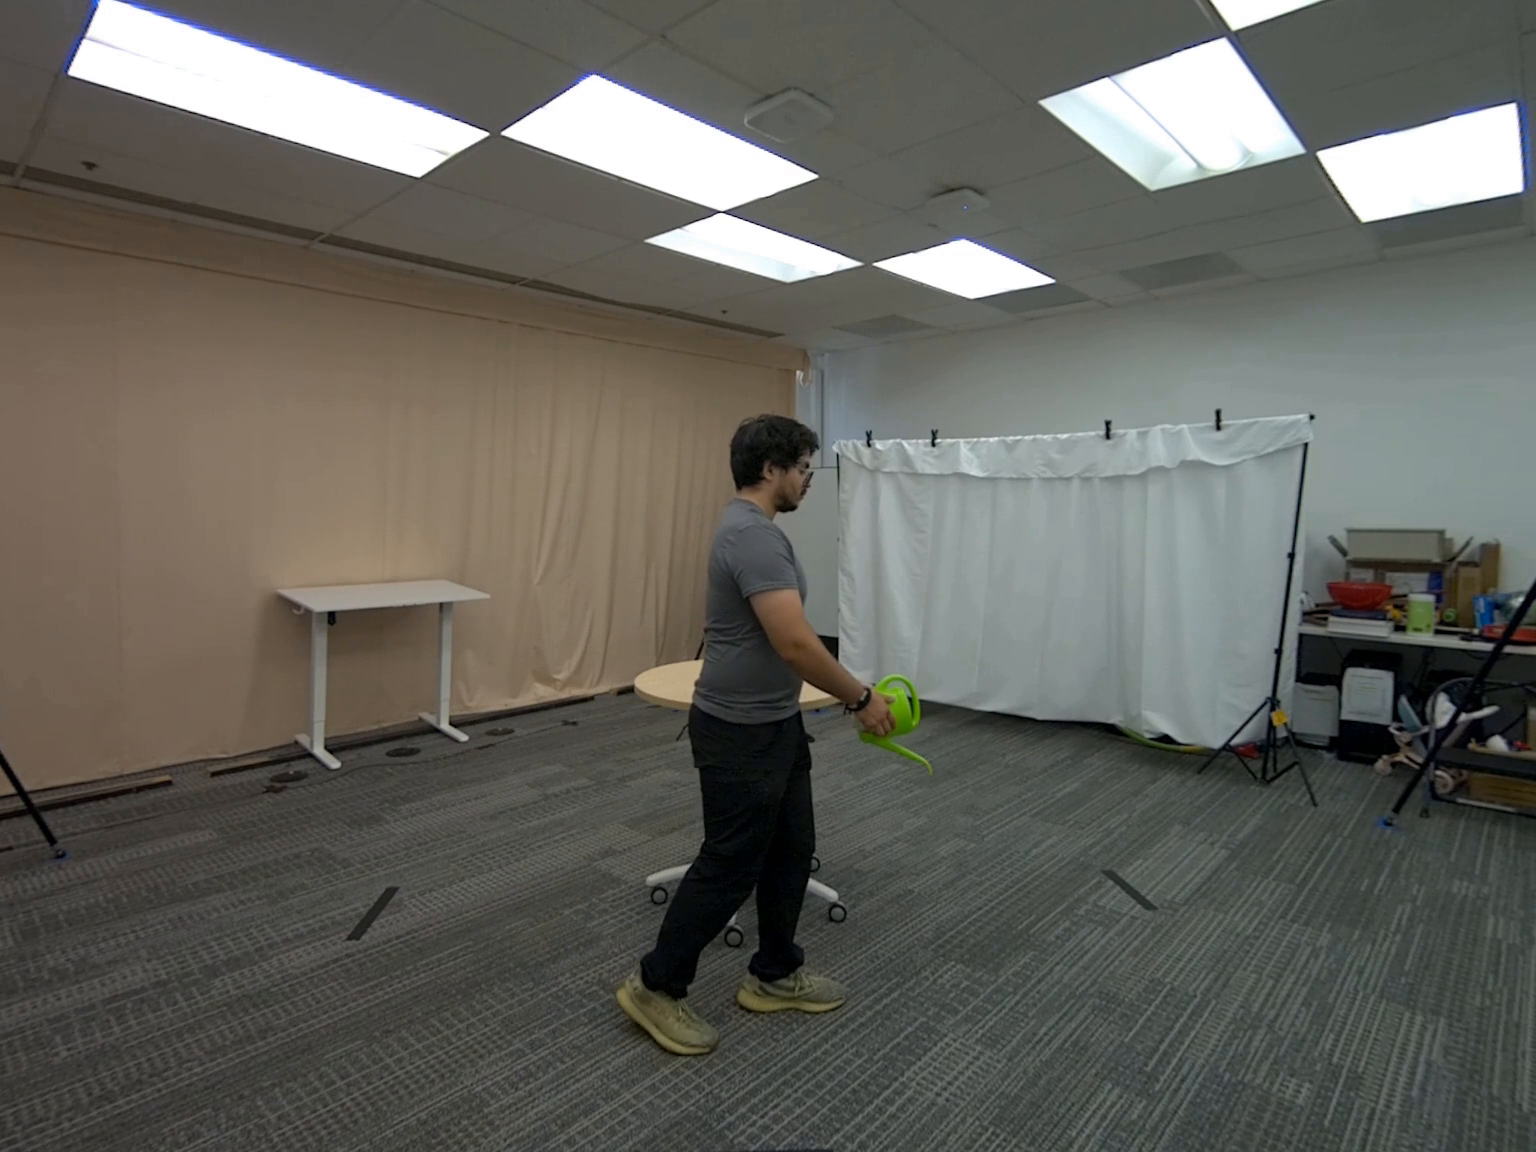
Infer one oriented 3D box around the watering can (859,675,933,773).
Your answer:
[{"bbox_3d":[0.342,0.412,2.250,0.176,0.280,0.098,-11,-8,-6],"label":"watering can"}]
